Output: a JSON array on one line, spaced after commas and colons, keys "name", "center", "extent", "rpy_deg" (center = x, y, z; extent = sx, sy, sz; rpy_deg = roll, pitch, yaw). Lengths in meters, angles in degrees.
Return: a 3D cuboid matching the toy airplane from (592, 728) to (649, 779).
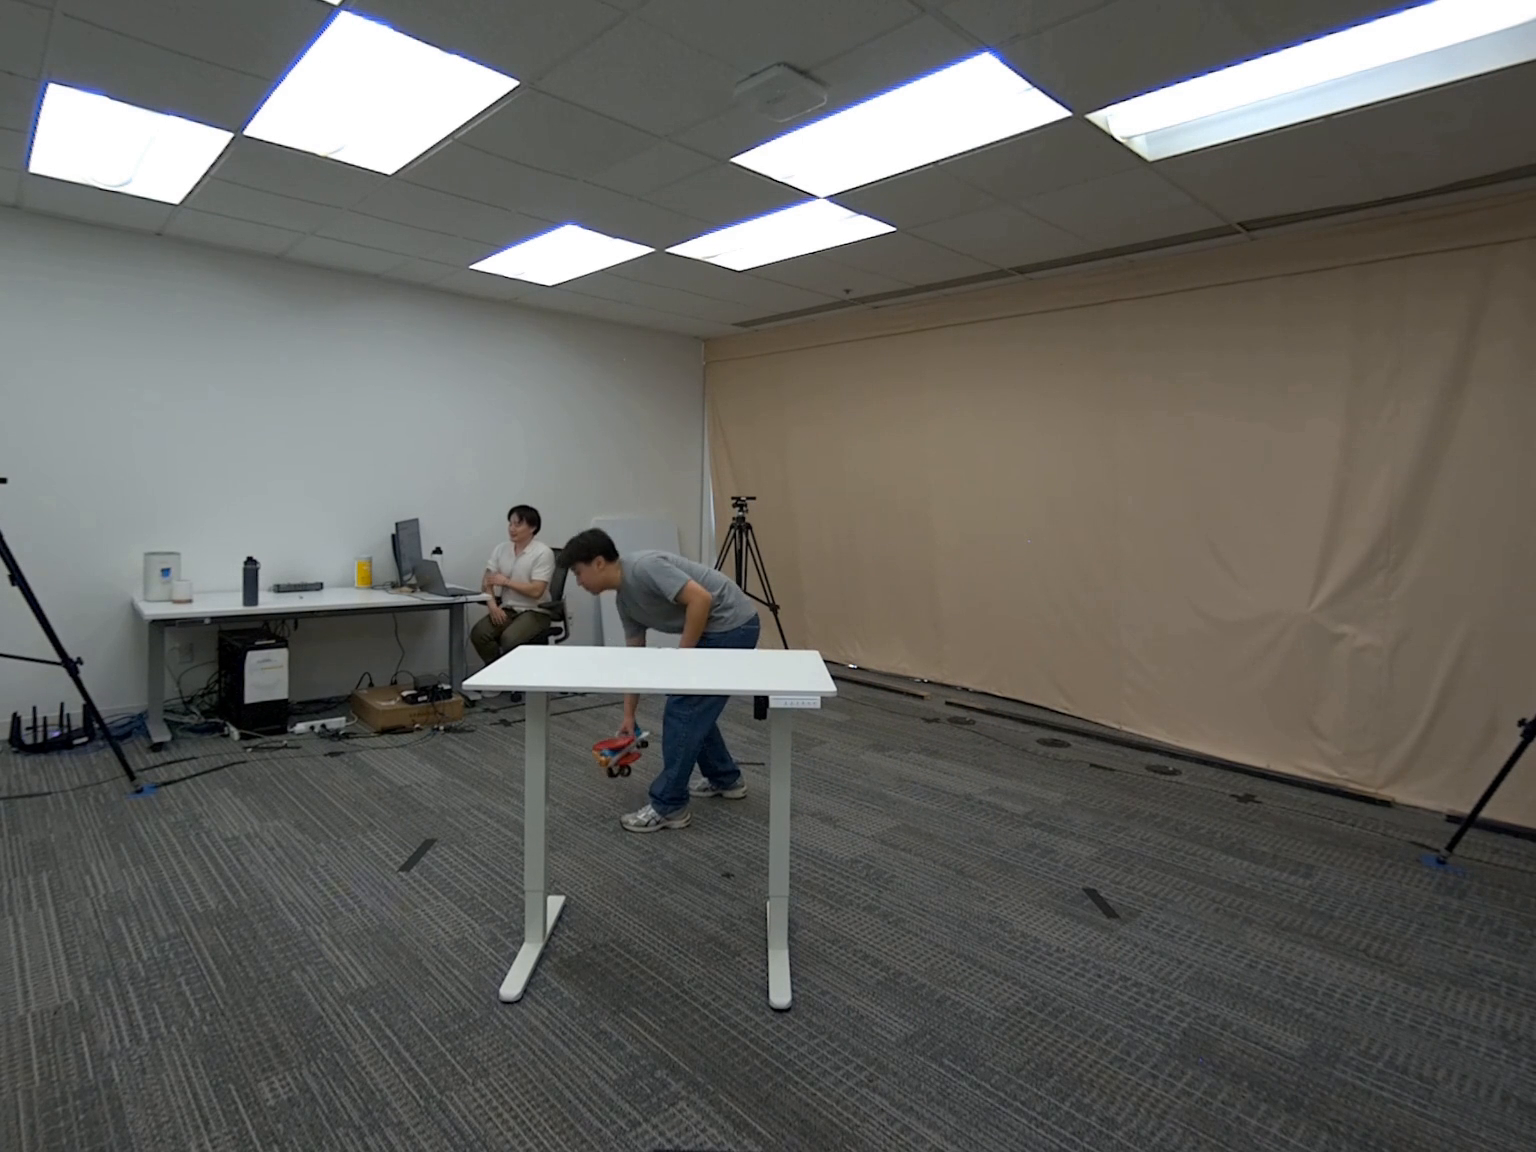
[{"name": "toy airplane", "center": [-0.656, 0.762, 3.730], "extent": [0.252, 0.154, 0.262], "rpy_deg": [-27, 17, 13]}]
